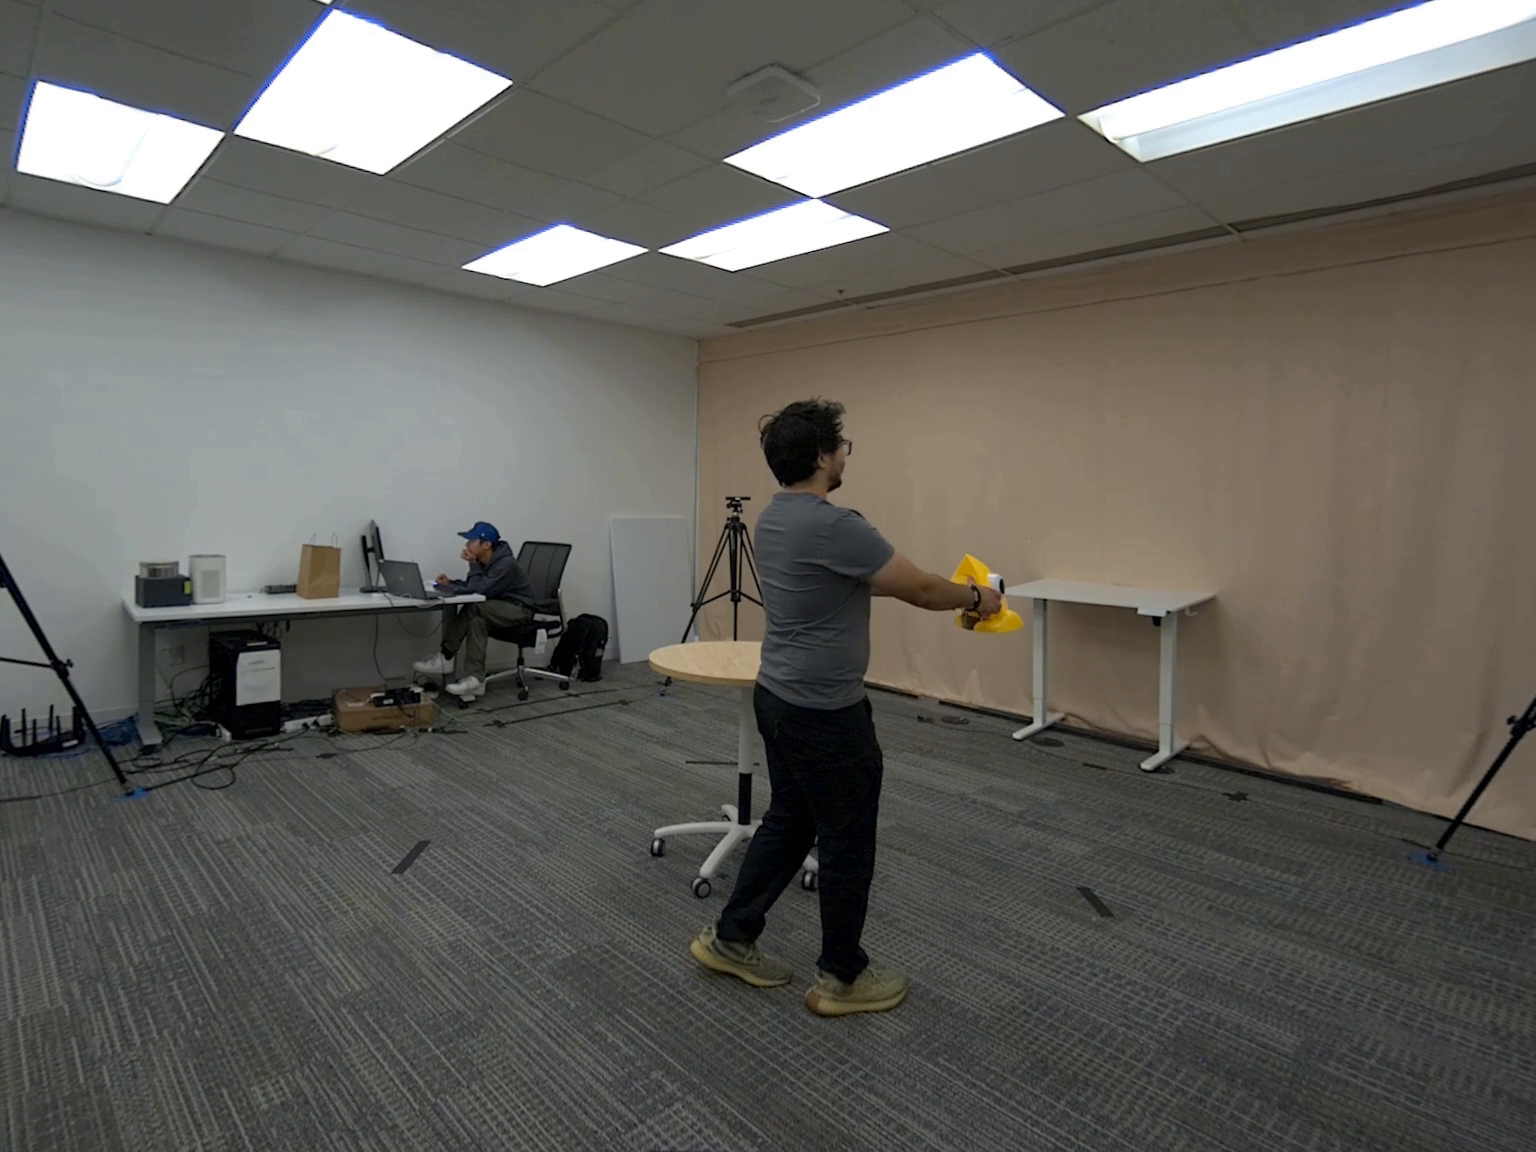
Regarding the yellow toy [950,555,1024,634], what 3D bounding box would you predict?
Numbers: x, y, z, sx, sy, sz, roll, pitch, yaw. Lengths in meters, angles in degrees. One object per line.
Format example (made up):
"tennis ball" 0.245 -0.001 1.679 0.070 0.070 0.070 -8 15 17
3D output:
"yellow toy" 0.654 0.043 2.564 0.190 0.229 0.209 -8 9 -28
